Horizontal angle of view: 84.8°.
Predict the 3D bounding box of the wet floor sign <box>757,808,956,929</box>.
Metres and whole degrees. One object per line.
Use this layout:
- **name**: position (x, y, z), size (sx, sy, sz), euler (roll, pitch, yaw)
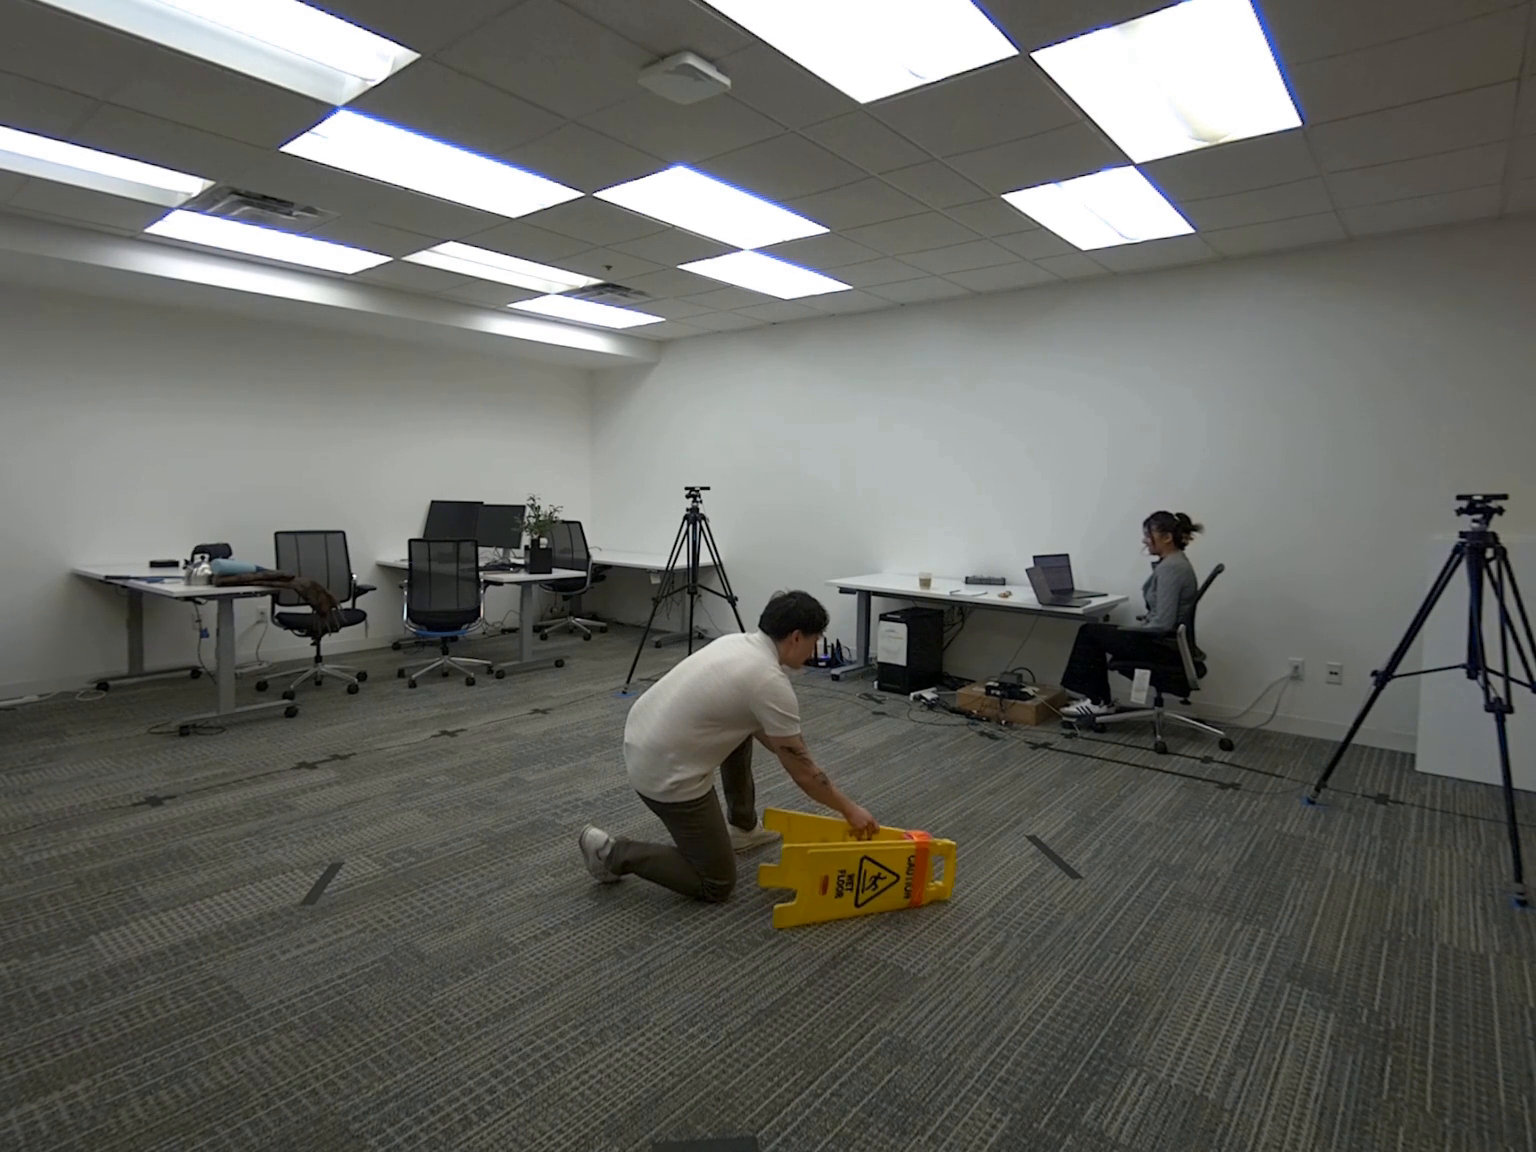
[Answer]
- **wet floor sign**: position (0.309, 0.972, 2.849), size (0.639, 0.281, 0.294), euler (4, 7, -10)
